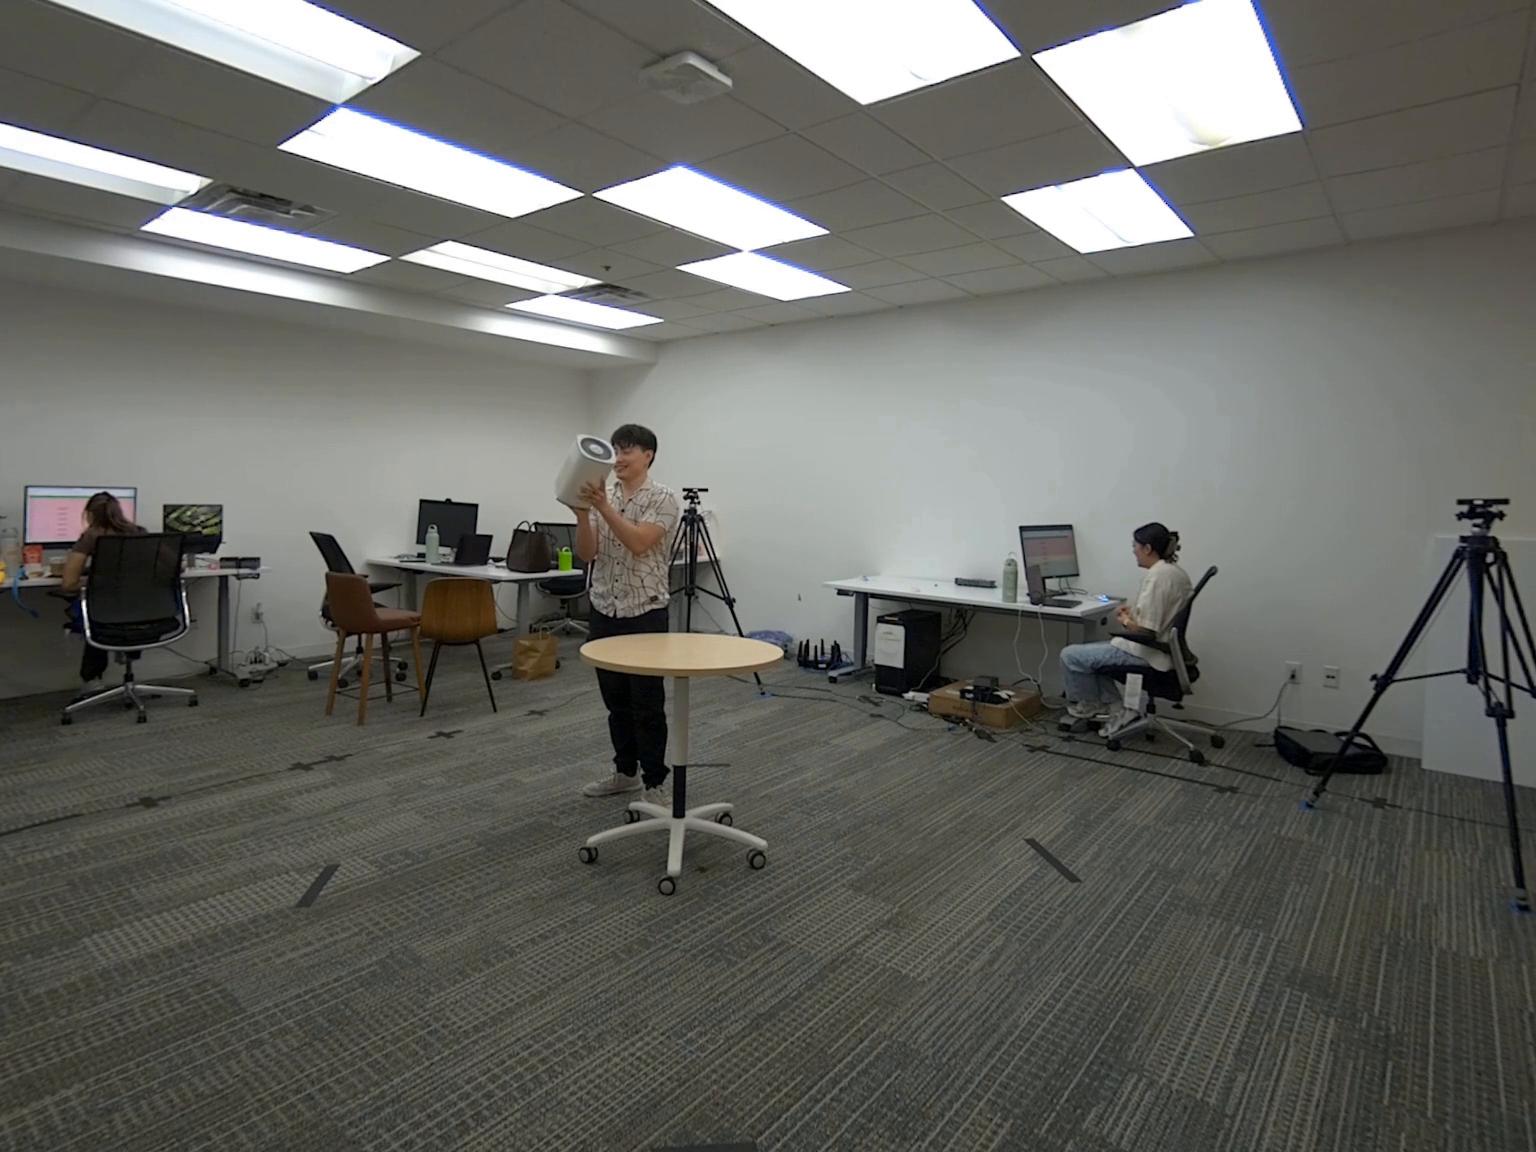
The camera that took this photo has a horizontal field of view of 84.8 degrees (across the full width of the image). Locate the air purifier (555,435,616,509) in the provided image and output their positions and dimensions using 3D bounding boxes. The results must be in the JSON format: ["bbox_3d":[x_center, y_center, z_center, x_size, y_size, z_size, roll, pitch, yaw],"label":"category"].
[{"bbox_3d":[-0.786,-0.440,3.572,0.165,0.264,0.178,12,38,-34],"label":"air purifier"}]
